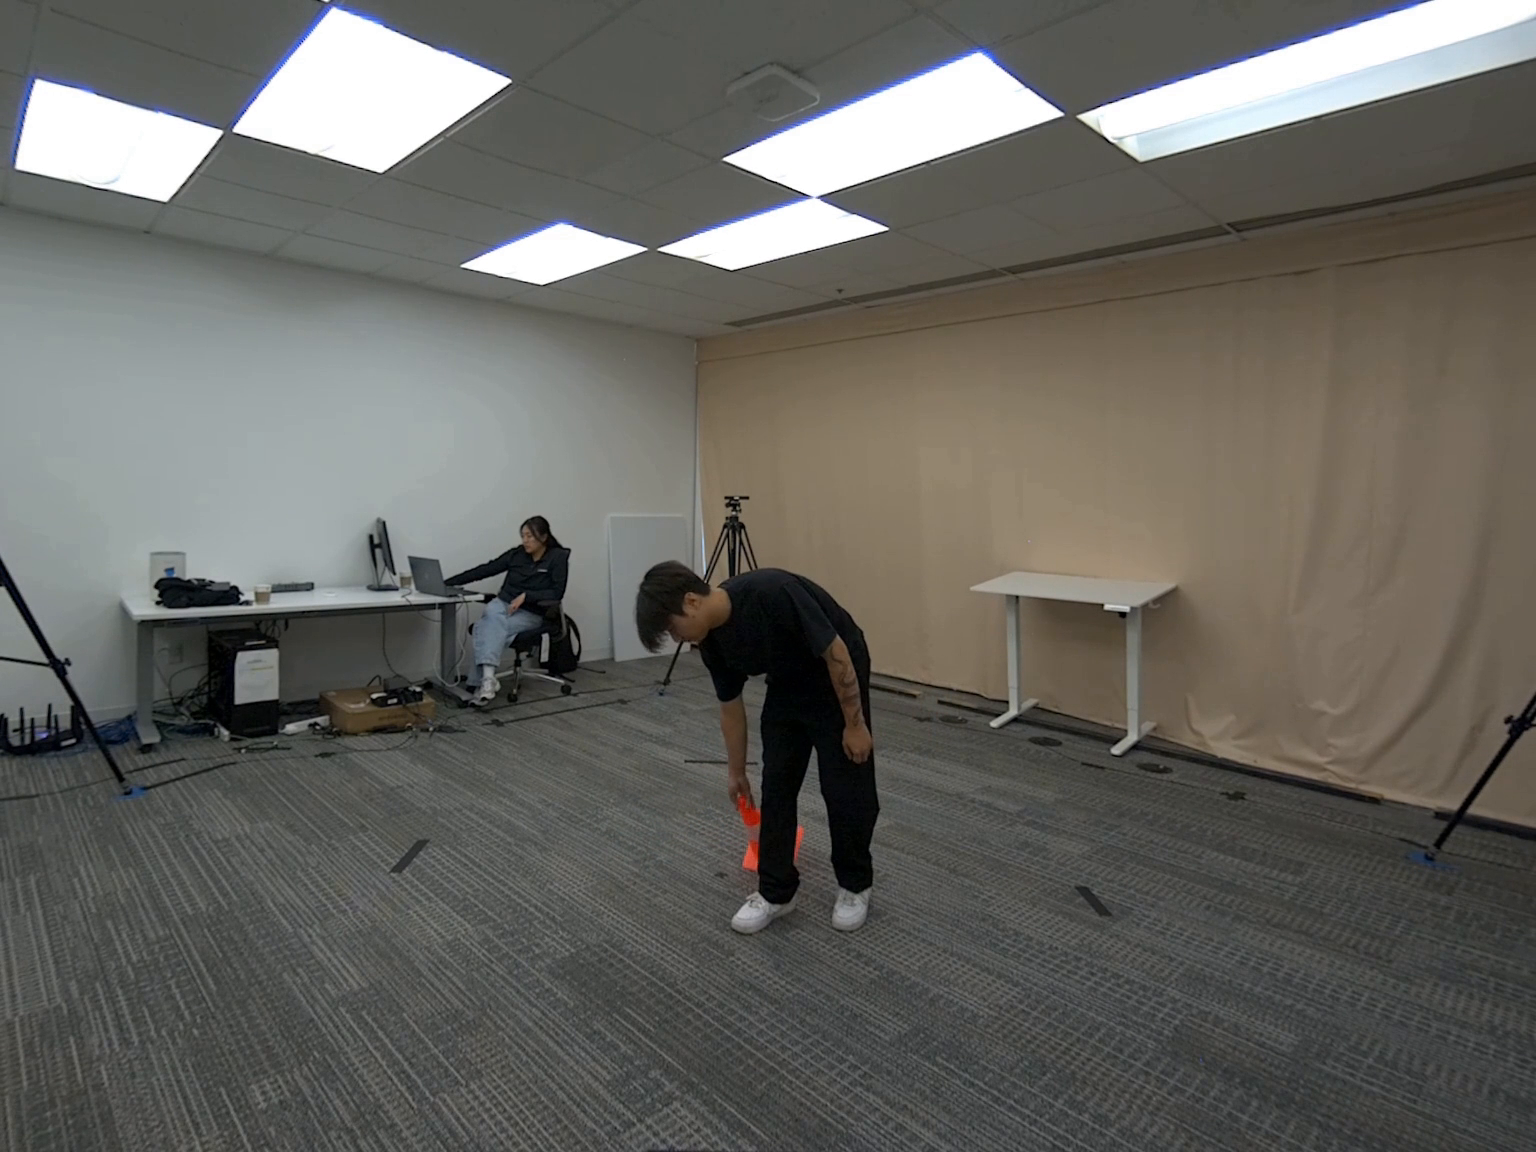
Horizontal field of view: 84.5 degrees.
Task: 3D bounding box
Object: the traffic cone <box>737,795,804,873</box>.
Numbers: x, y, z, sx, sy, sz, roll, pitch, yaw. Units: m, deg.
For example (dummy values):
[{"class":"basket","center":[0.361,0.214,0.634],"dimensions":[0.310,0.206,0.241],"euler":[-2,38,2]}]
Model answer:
[{"class":"traffic cone","center":[-0.044,0.912,3.058],"dimensions":[0.207,0.372,0.207],"euler":[6,49,26]}]
